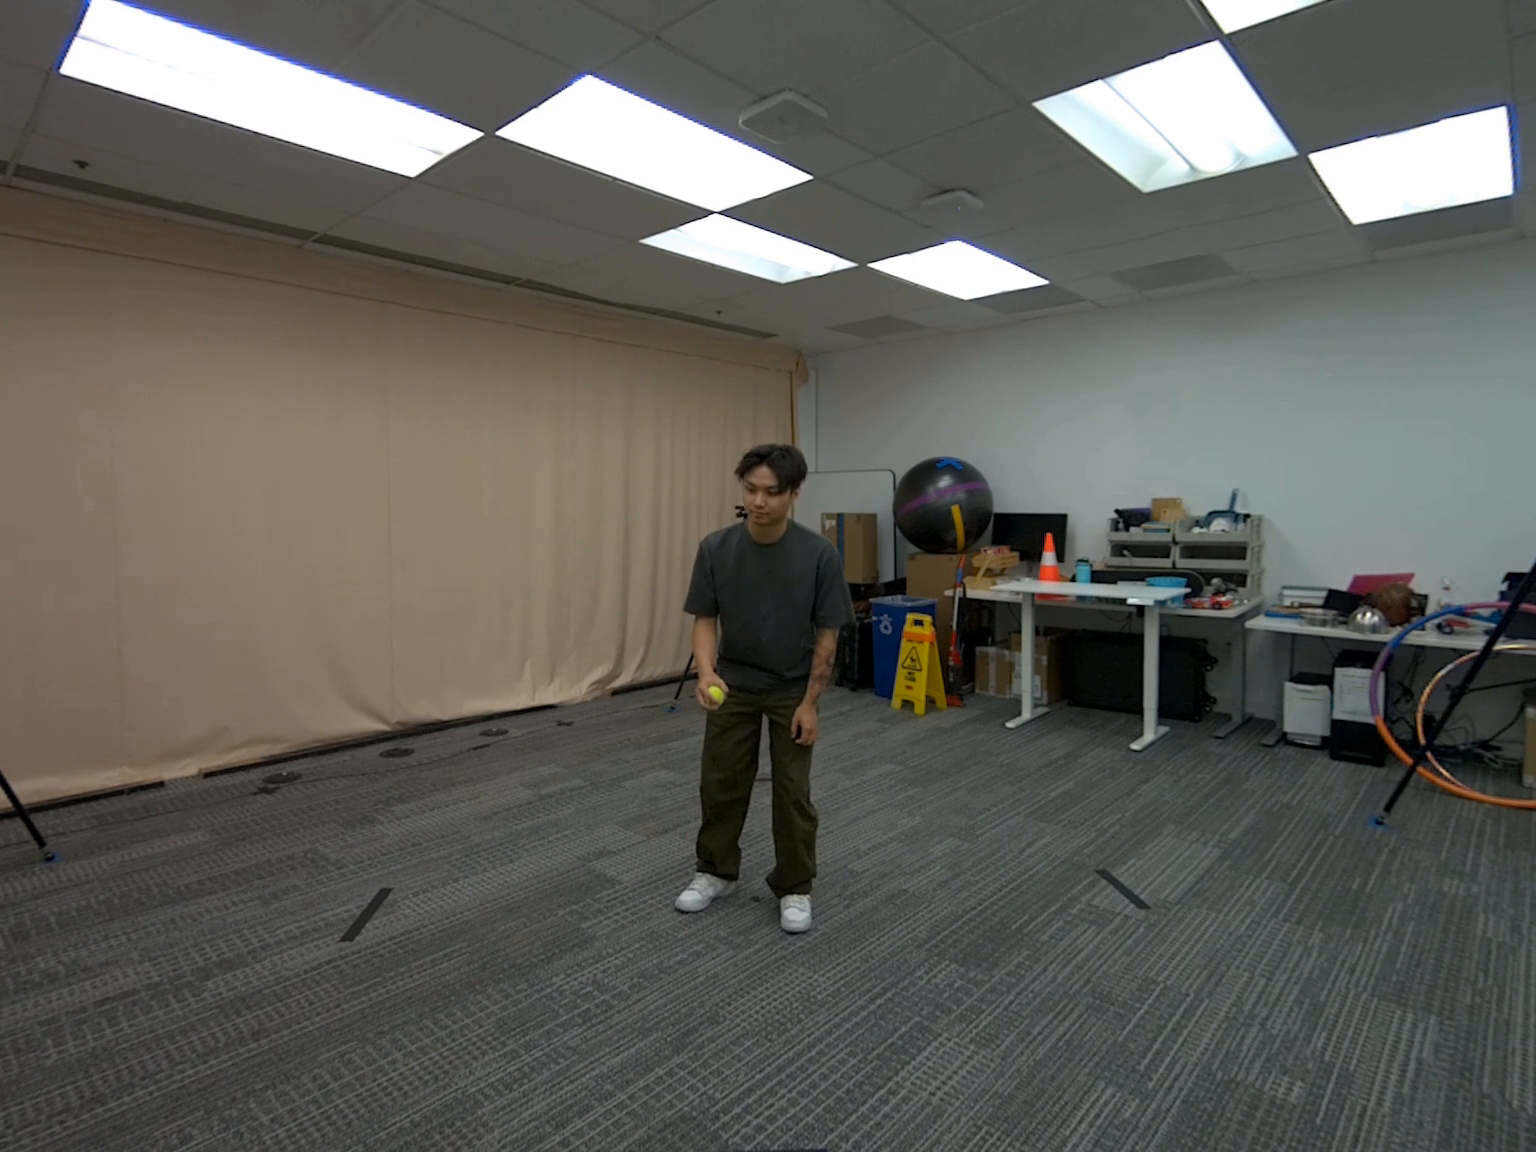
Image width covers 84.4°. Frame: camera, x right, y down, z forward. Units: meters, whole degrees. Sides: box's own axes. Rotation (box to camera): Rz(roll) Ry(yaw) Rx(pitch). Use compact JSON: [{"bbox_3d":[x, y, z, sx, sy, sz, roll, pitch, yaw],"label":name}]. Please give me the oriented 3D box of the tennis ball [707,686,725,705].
[{"bbox_3d":[-0.170,0.380,2.620,0.066,0.066,0.067,0,4,-2],"label":"tennis ball"}]
